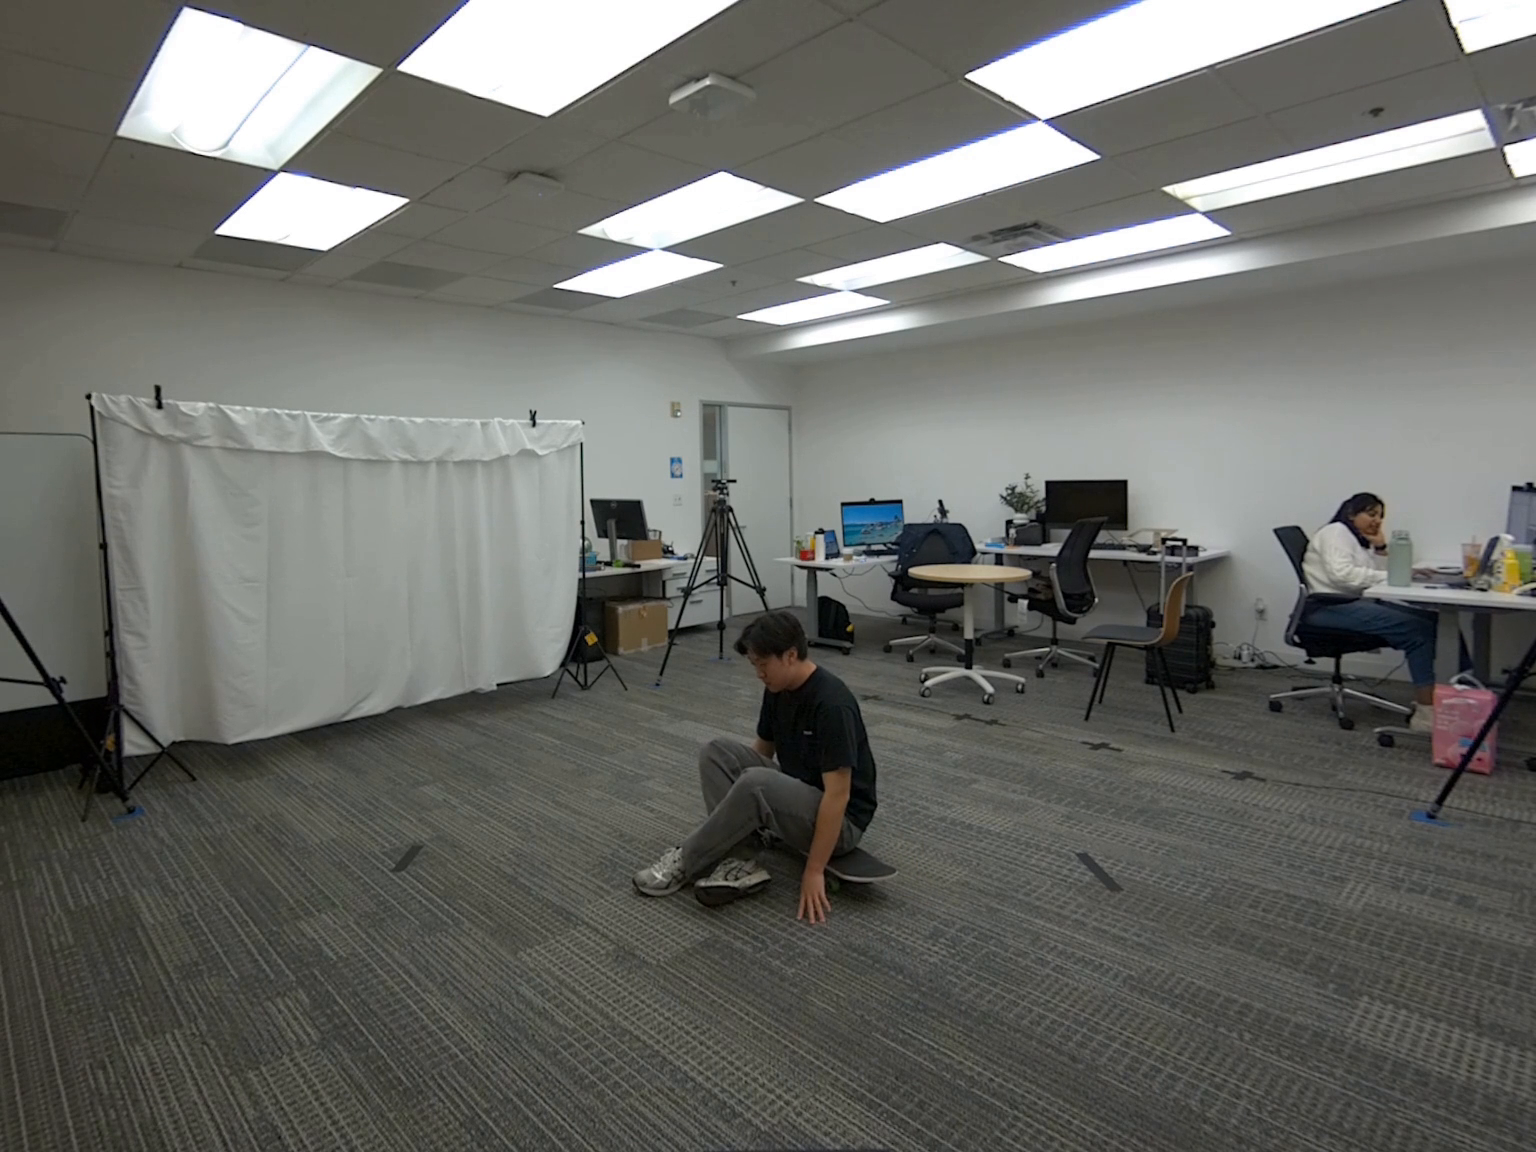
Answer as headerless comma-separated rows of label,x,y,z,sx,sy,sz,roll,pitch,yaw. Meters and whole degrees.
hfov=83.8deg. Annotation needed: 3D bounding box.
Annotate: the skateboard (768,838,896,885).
skateboard,0.182,0.993,3.089,0.189,0.110,0.807,0,5,-29
